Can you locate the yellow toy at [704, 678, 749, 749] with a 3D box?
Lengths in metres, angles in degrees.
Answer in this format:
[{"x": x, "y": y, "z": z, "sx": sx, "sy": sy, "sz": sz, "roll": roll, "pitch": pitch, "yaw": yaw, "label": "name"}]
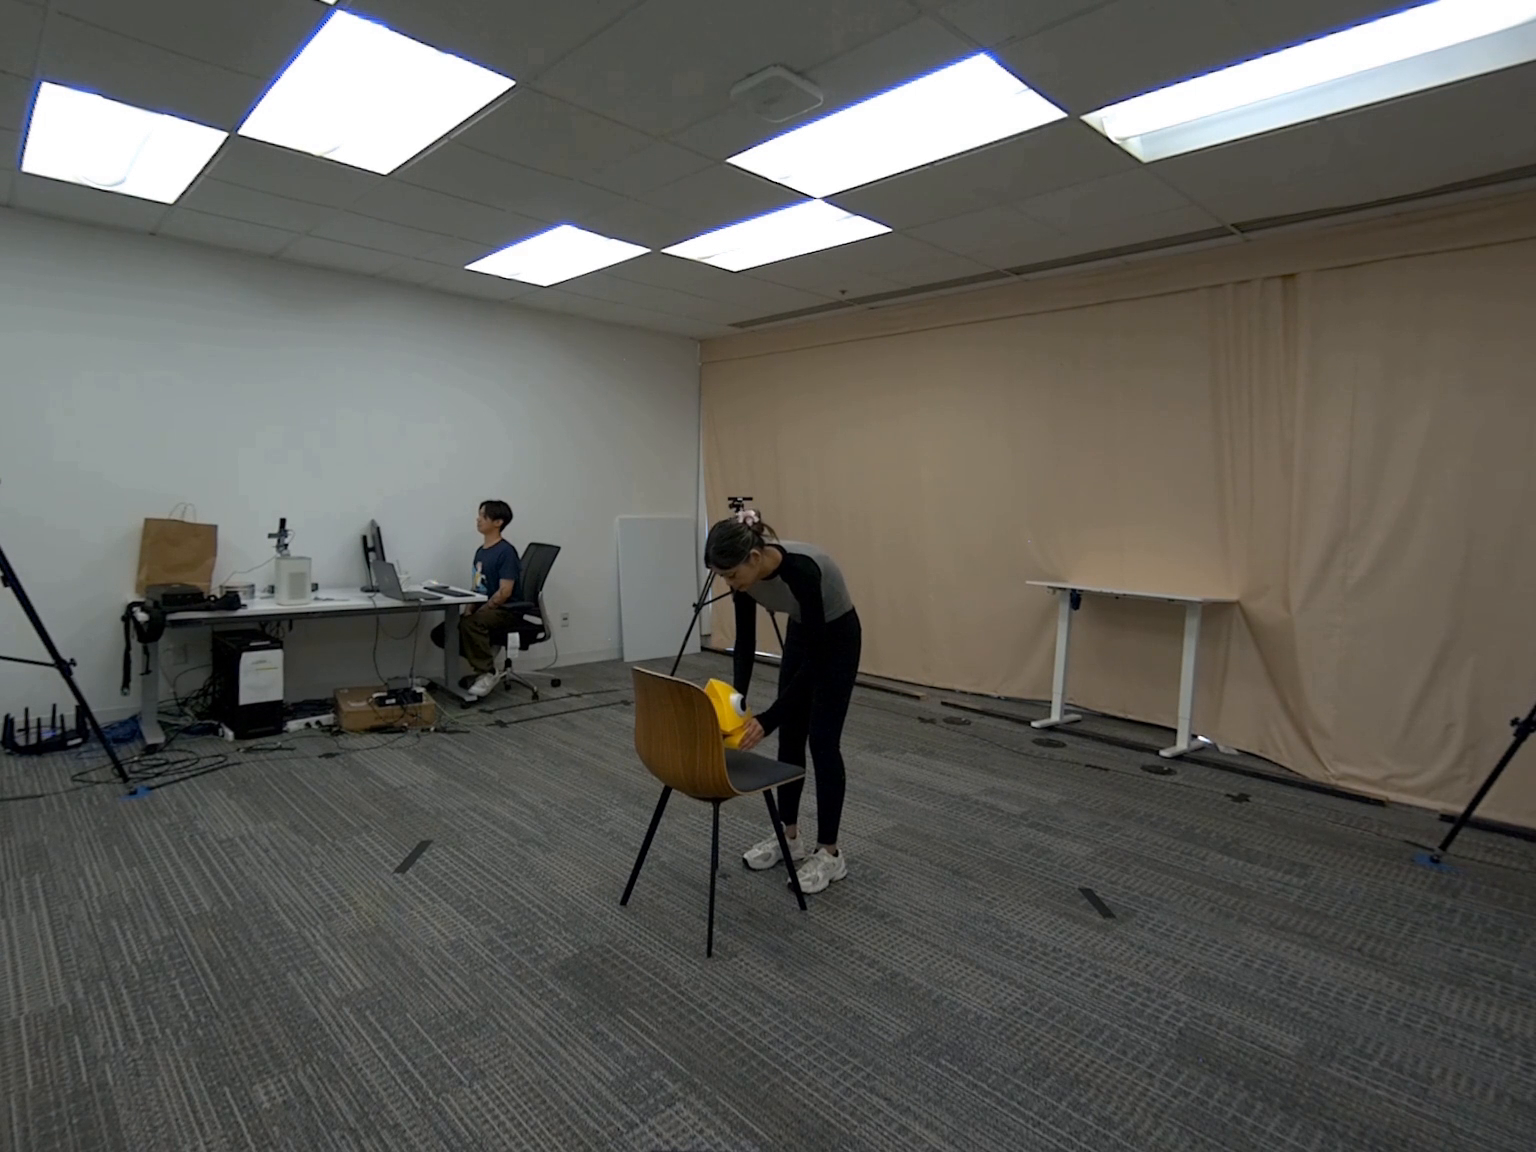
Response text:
[{"x": -0.143, "y": 0.442, "z": 2.856, "sx": 0.190, "sy": 0.228, "sz": 0.210, "roll": -16, "pitch": 14, "yaw": -38, "label": "yellow toy"}]
